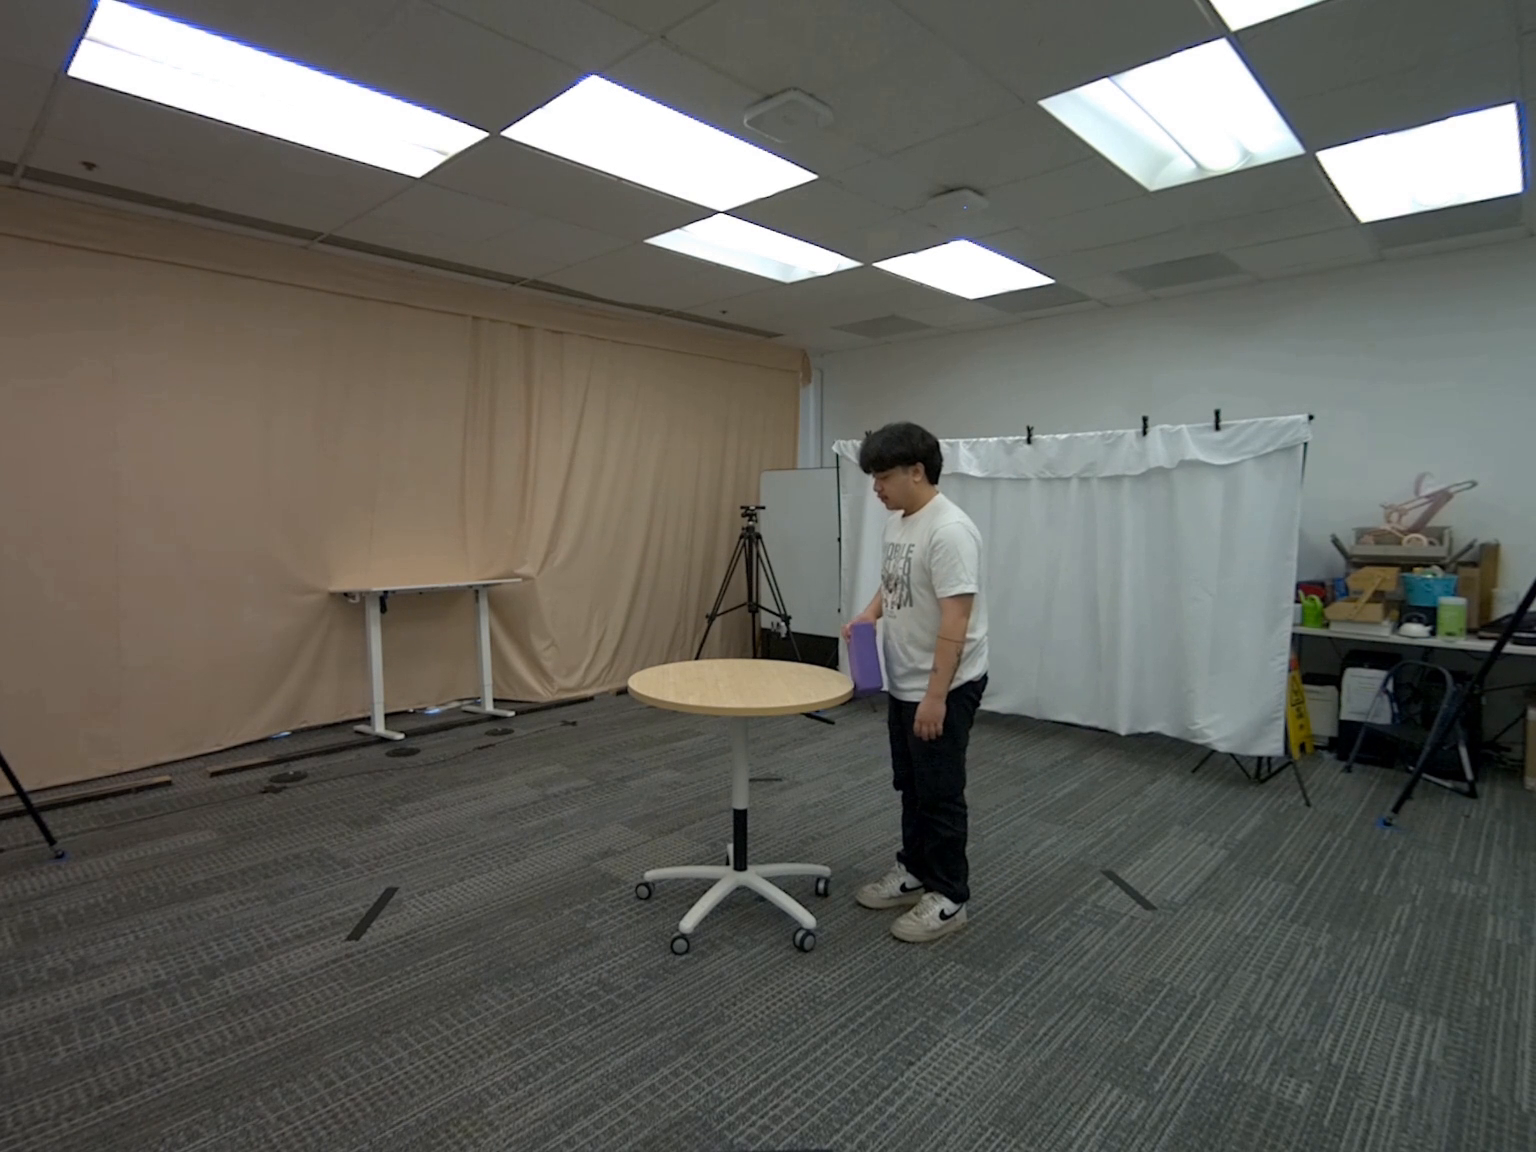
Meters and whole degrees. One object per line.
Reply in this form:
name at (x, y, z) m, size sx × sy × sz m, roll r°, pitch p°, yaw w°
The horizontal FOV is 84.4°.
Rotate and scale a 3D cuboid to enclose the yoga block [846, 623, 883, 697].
yoga block at (0.342, 0.290, 2.849) m, size 0.076 × 0.232 × 0.147 m, roll -6°, pitch -15°, yaw -3°
